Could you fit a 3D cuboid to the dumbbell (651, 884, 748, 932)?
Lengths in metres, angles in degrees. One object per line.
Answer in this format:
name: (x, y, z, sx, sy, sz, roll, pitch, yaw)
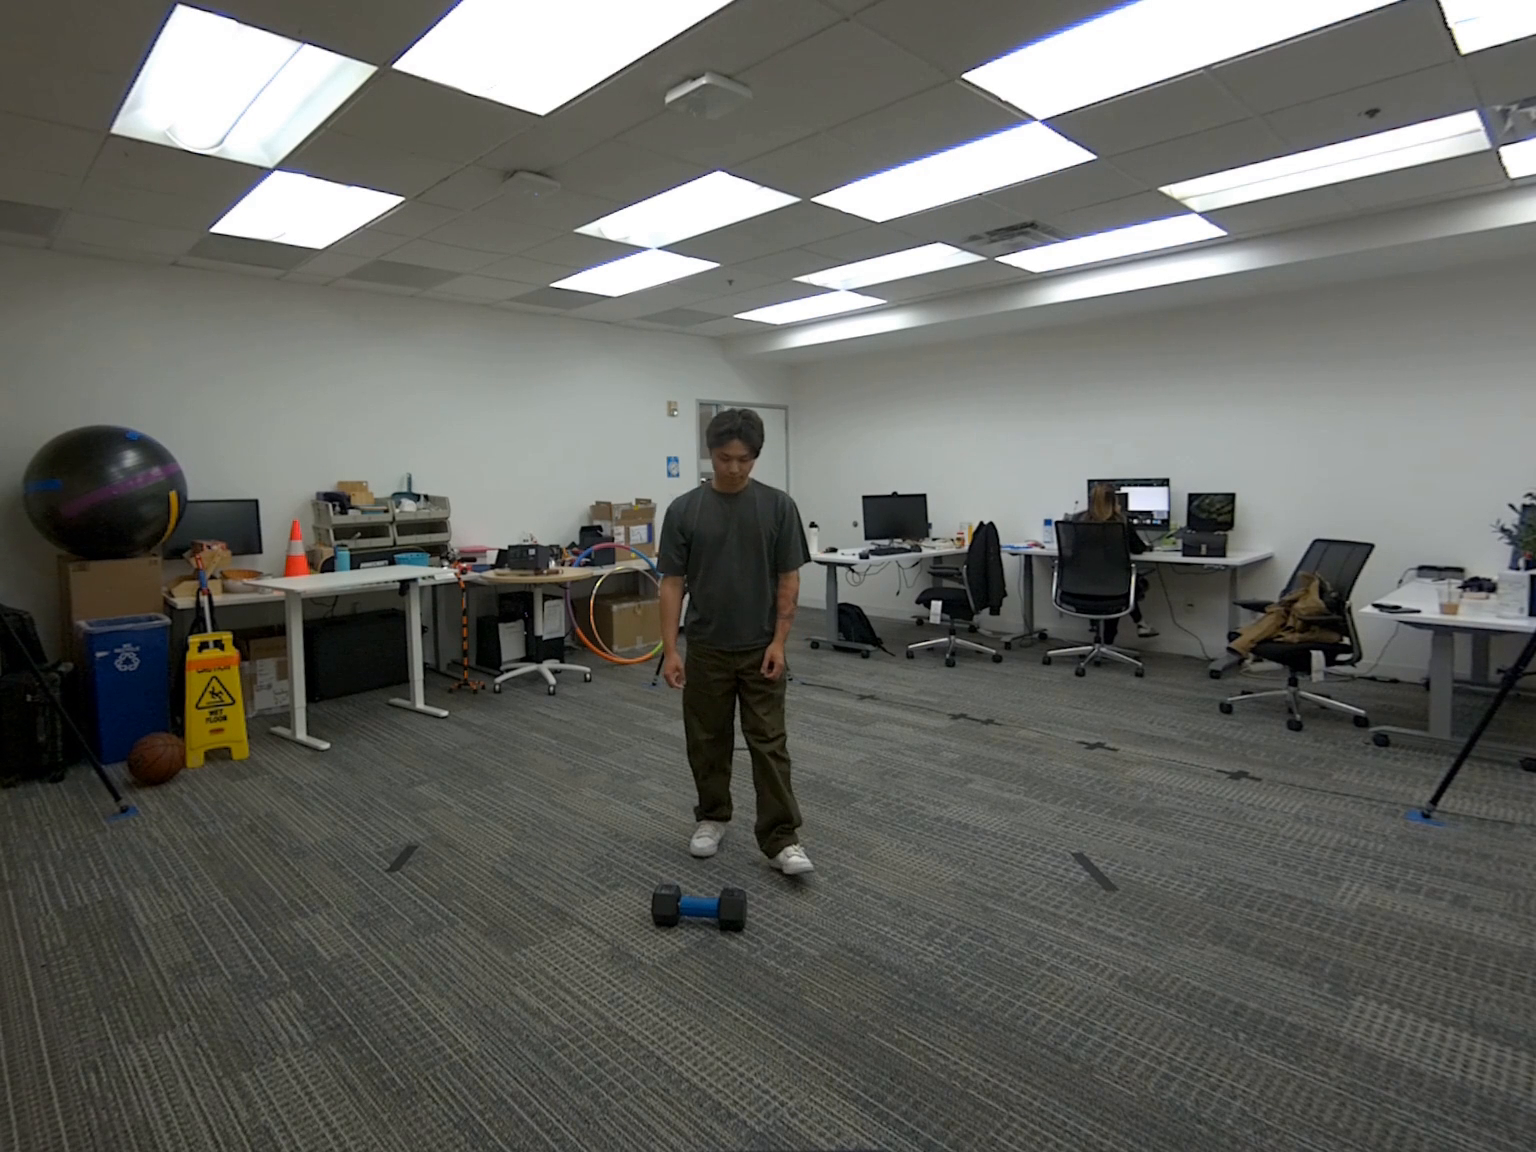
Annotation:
dumbbell: (-0.210, 1.046, 2.688, 0.296, 0.119, 0.111, 0, 35, 8)
